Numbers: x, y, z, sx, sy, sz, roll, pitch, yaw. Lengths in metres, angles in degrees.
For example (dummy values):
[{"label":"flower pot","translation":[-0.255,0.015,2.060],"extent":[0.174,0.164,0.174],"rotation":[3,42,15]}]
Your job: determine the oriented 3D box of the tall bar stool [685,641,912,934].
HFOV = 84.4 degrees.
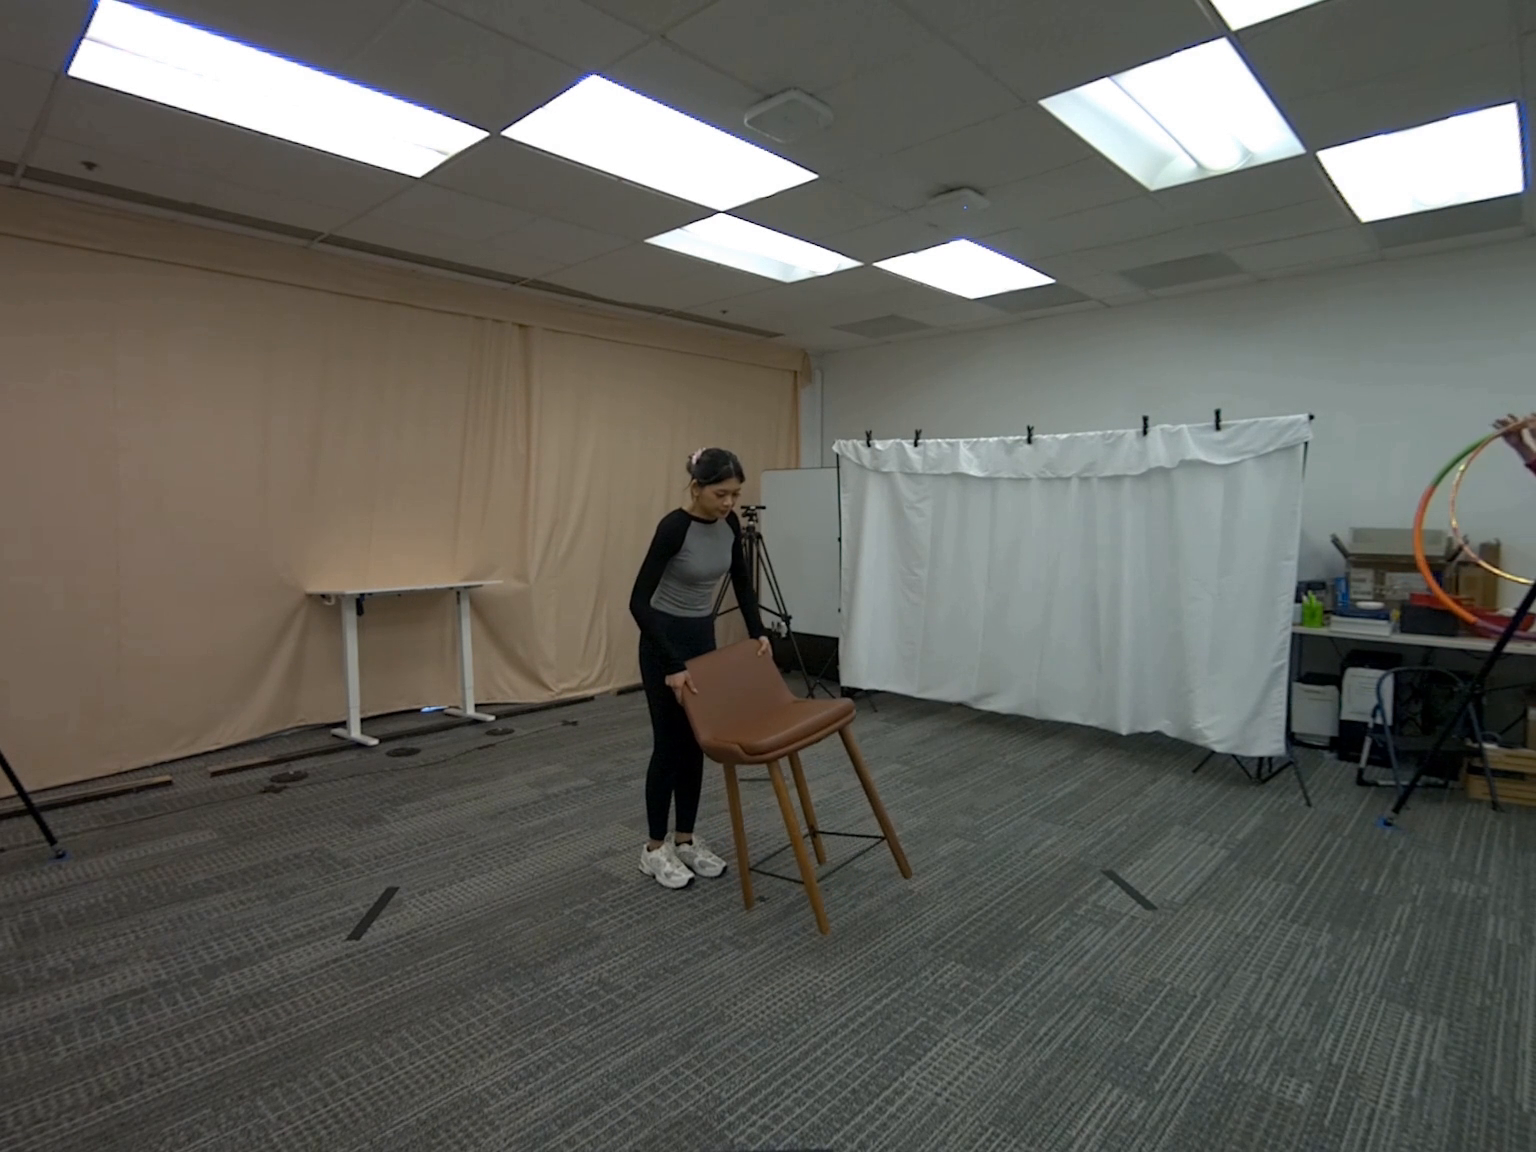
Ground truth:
[{"label":"tall bar stool","translation":[0.071,0.660,2.850],"extent":[0.445,0.892,0.478],"rotation":[-16,-3,-36]}]
